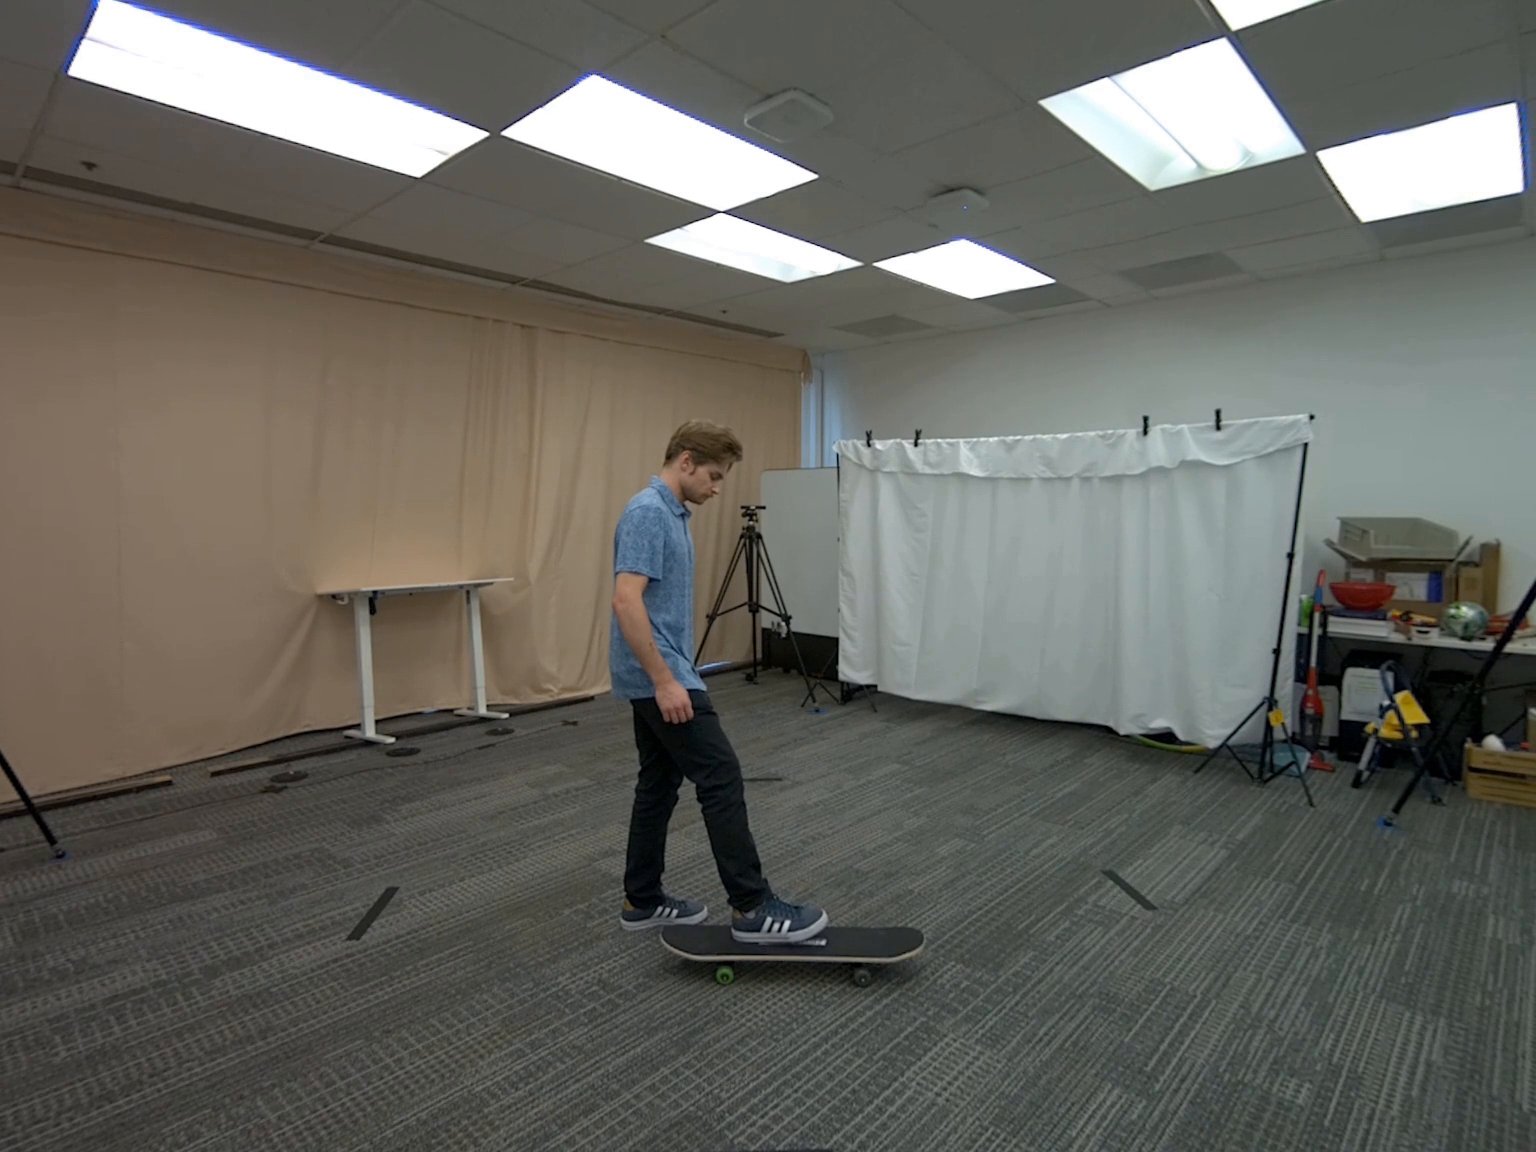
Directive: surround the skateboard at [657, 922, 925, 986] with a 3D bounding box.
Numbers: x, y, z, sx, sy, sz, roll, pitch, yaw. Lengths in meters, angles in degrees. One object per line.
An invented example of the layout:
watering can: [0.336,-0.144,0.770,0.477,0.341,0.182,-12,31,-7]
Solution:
skateboard: [0.075,1.124,2.523,0.787,0.110,0.193,0,3,2]
